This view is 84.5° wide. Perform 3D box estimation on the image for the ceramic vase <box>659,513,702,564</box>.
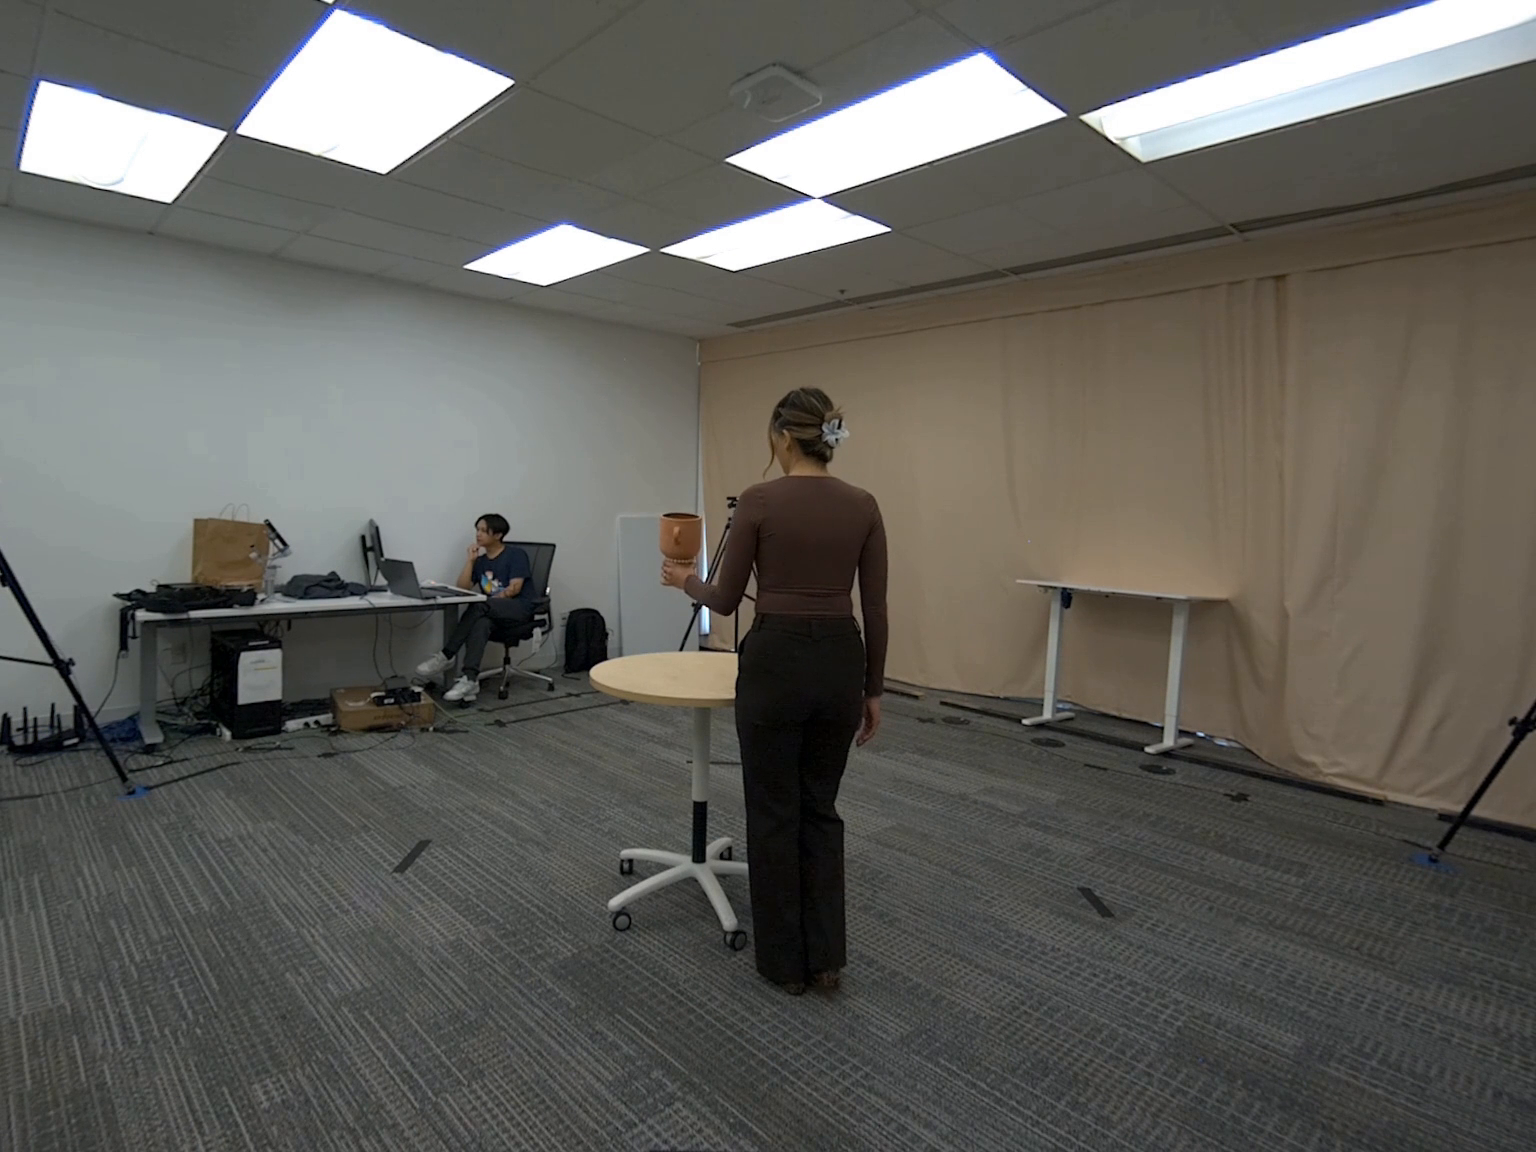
[{"bbox_3d":[-0.290,-0.080,2.673,0.155,0.218,0.138,-9,16,-43],"label":"ceramic vase"}]
